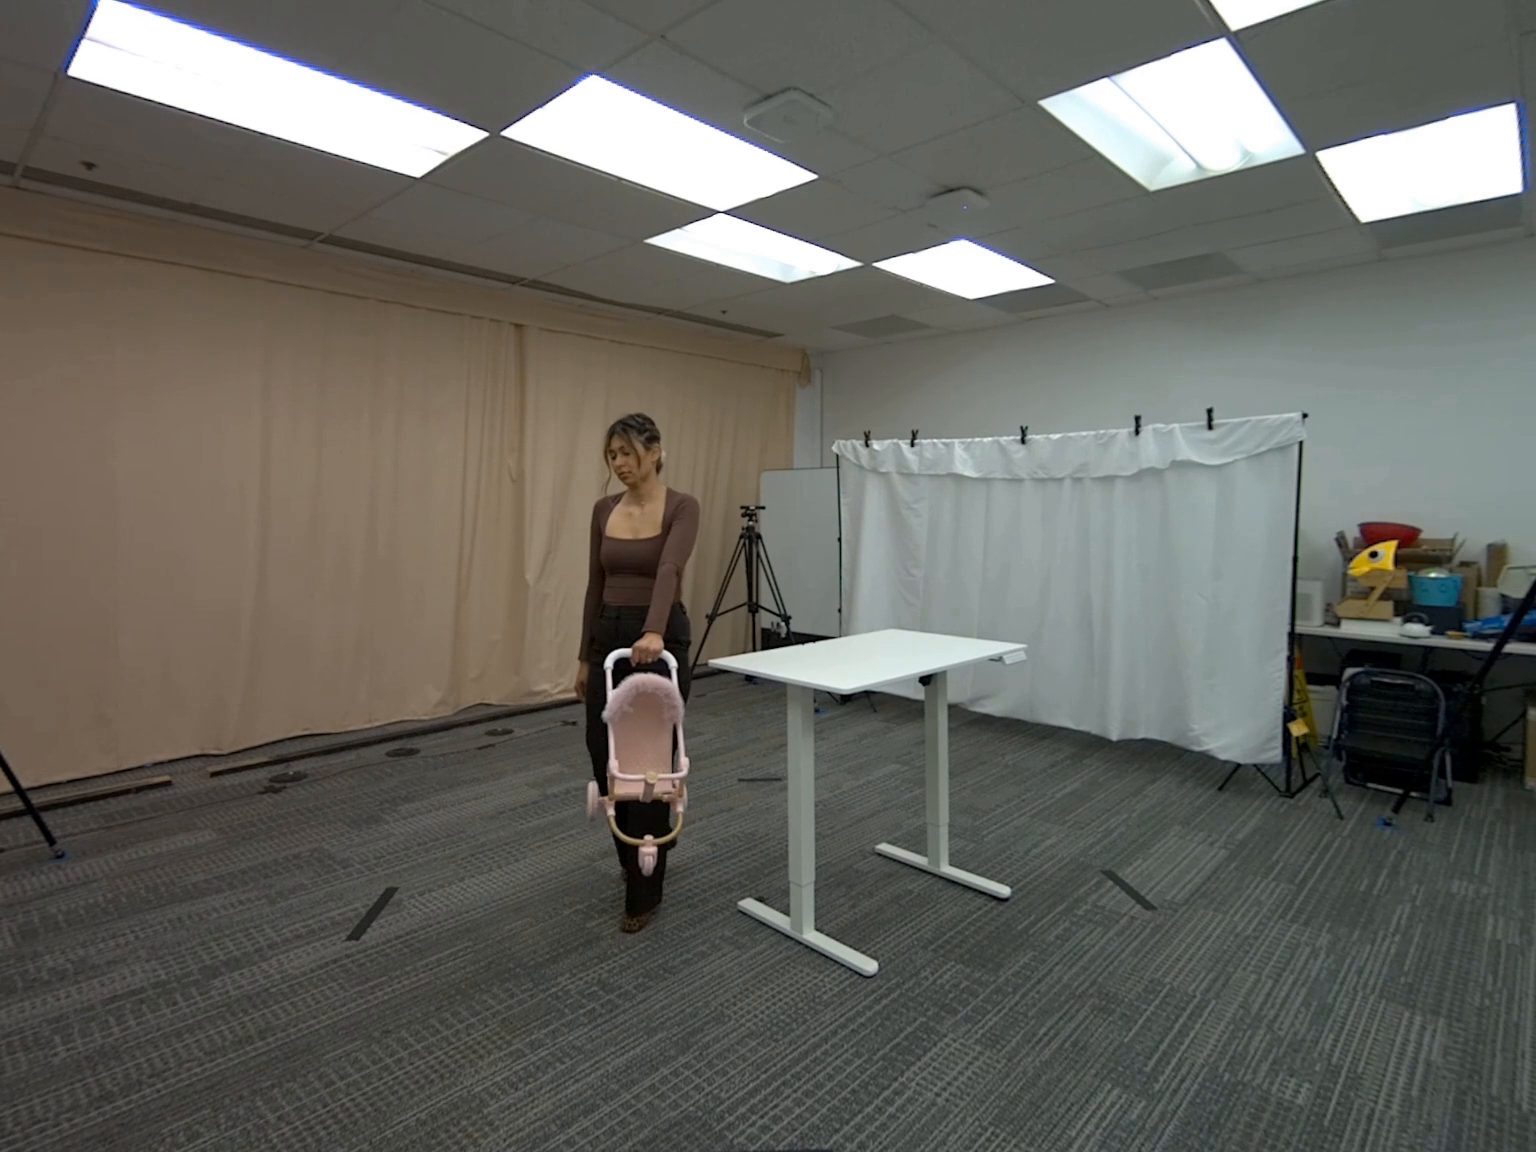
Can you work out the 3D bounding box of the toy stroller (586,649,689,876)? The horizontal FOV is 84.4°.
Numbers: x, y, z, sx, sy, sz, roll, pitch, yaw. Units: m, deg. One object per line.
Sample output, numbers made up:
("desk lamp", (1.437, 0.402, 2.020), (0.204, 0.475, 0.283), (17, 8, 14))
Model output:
("toy stroller", (-0.339, 0.492, 2.288), (0.278, 0.534, 0.346), (3, 2, -13))
